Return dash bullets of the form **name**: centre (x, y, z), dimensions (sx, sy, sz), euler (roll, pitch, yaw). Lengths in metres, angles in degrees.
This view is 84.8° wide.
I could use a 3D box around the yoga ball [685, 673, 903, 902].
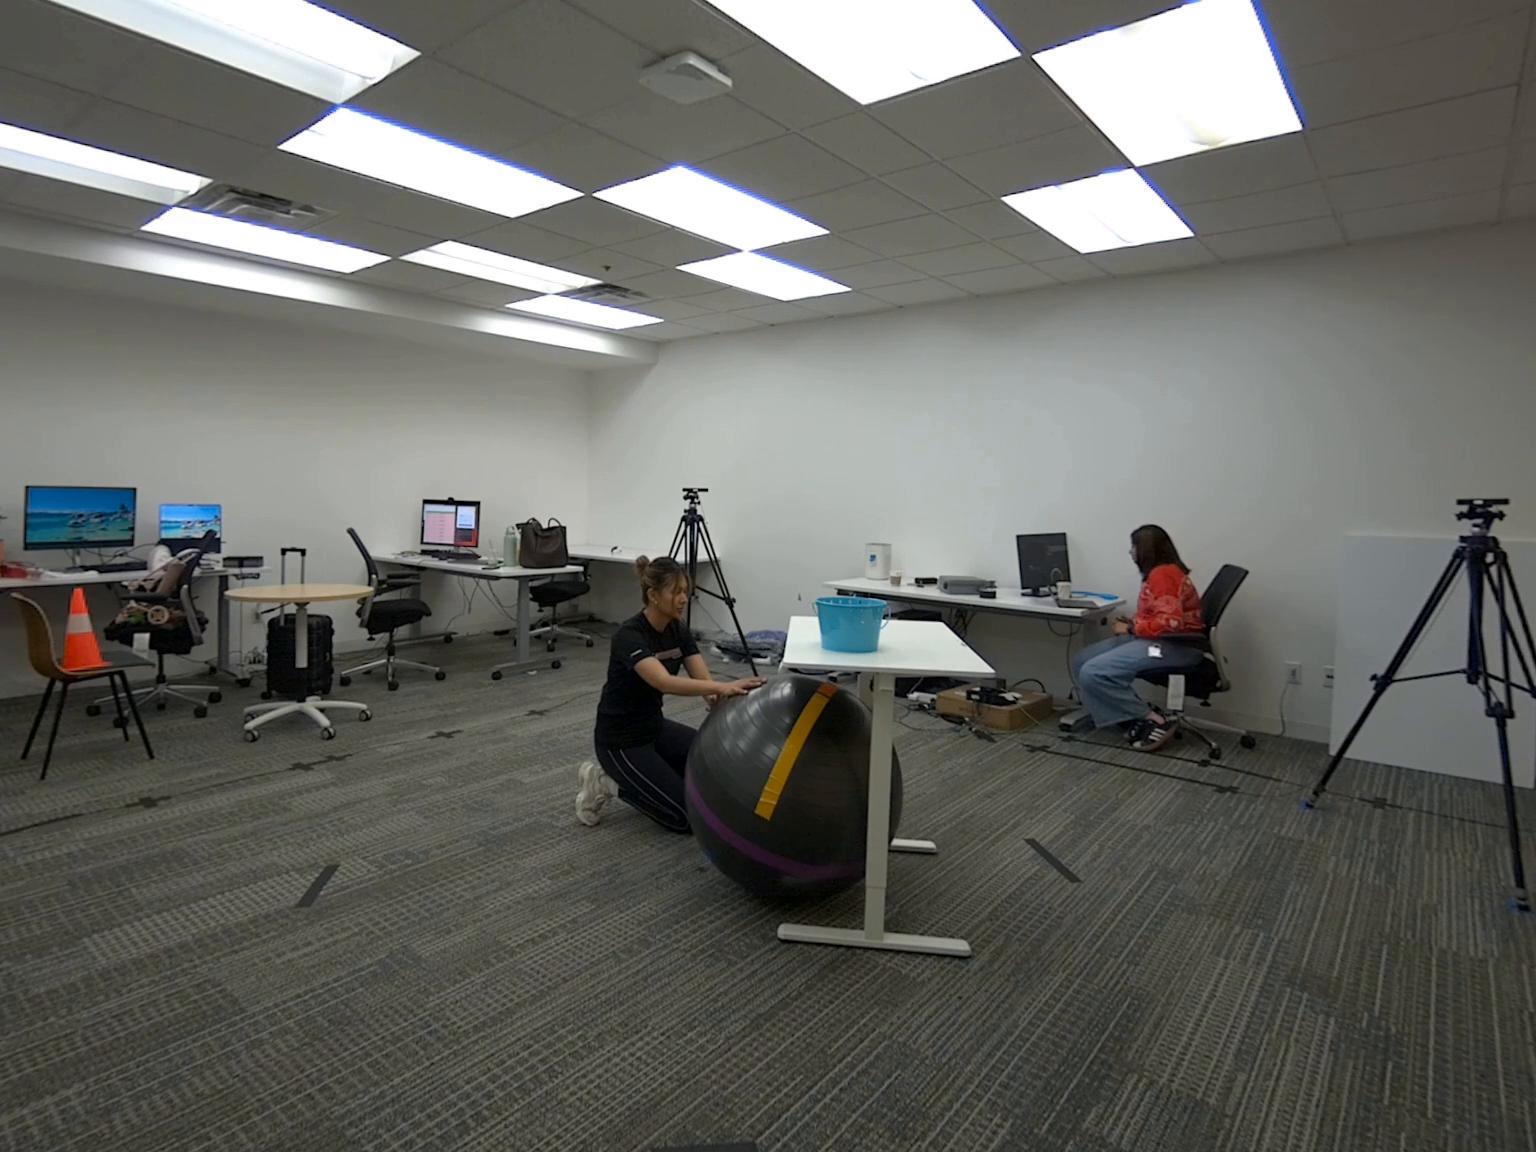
- **yoga ball**: centre (0.088, 0.734, 2.958), dimensions (0.757, 0.756, 0.762), euler (1, 4, -2)
